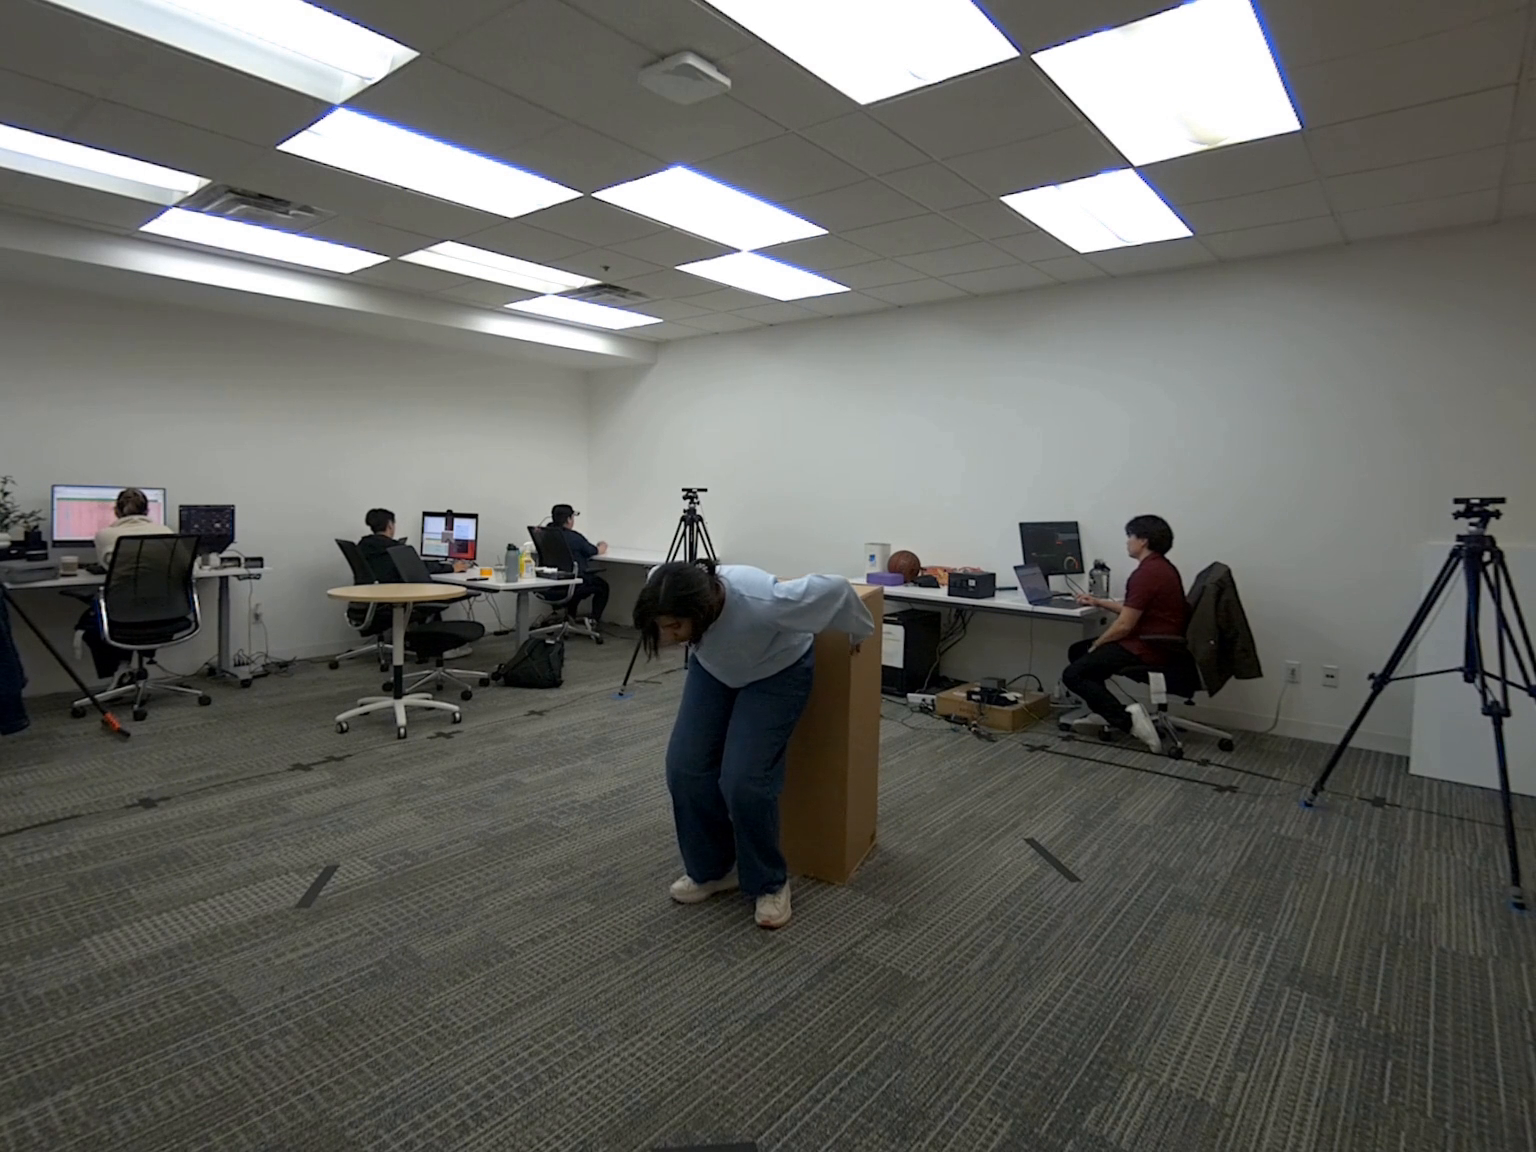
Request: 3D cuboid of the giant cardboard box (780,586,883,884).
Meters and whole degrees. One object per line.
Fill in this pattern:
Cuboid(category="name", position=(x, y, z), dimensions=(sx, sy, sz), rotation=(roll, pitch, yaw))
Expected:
Cuboid(category="giant cardboard box", position=(0.098, 0.553, 3.276), dimensions=(0.593, 1.022, 0.417), rotation=(3, 5, 25))
